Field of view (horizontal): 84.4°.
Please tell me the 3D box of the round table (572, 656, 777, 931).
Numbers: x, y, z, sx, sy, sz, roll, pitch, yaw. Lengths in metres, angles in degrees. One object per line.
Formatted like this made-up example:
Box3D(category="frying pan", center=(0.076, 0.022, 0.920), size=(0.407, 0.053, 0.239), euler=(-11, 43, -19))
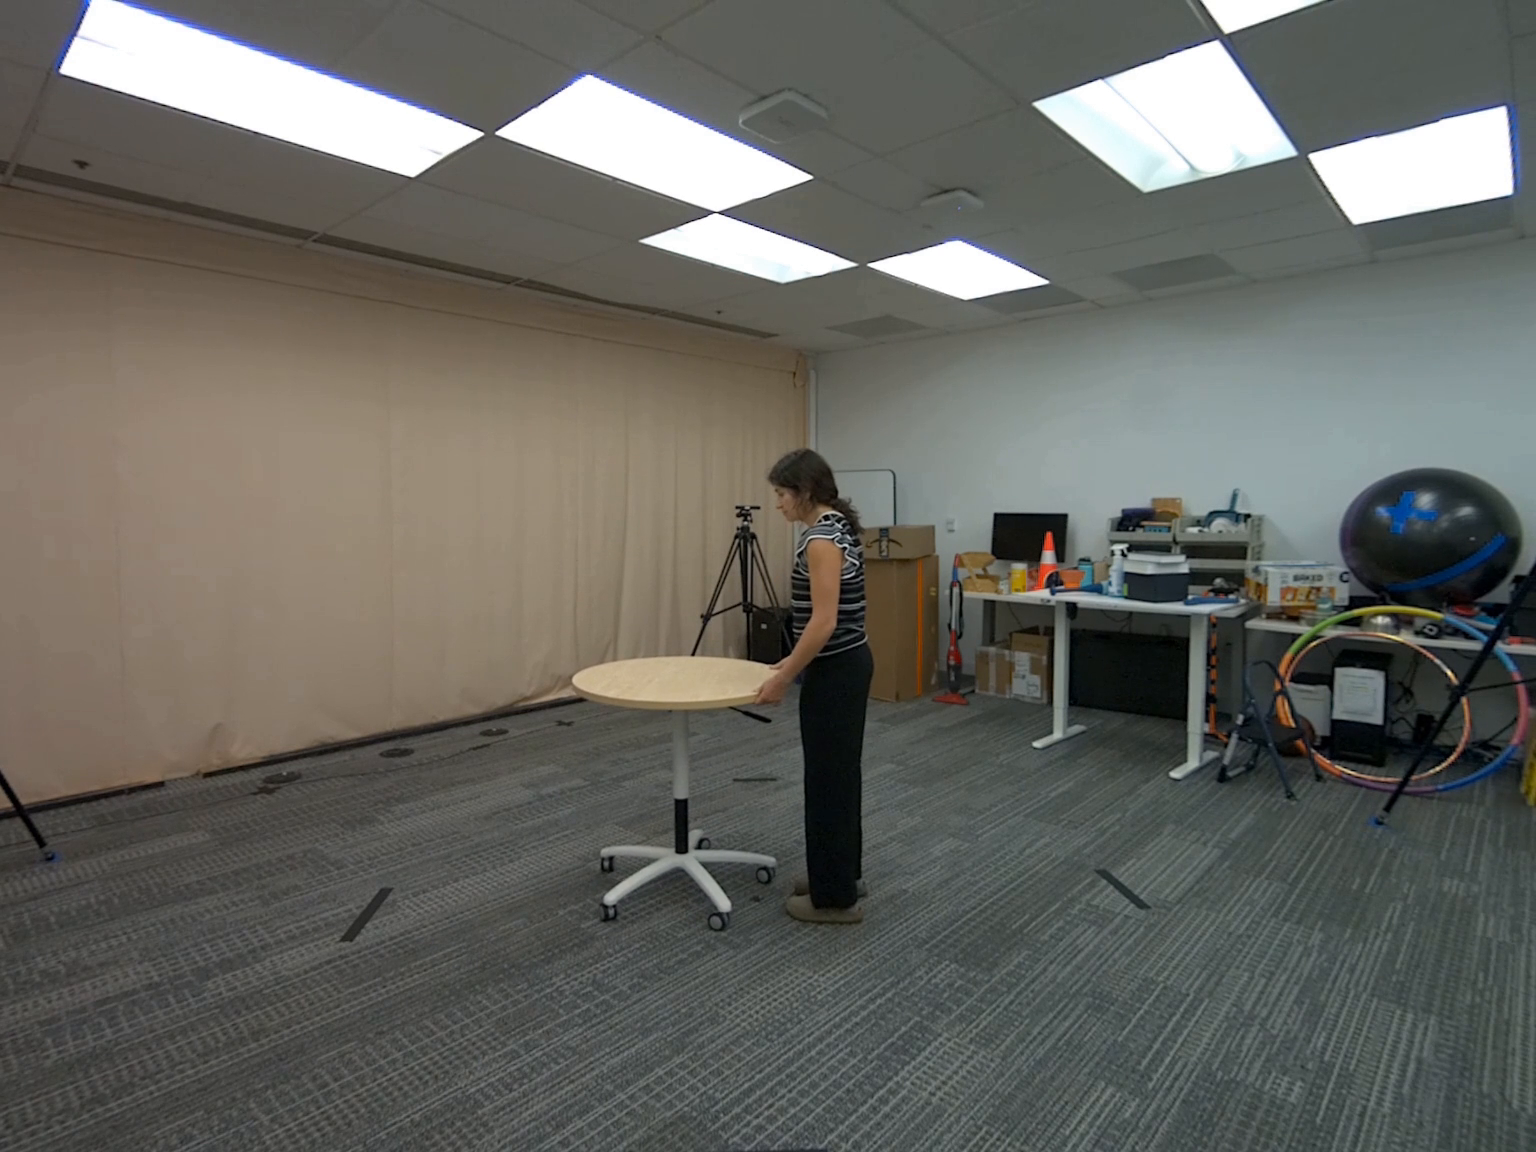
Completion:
Box3D(category="round table", center=(-0.303, 0.750, 3.043), size=(0.784, 0.784, 0.788), euler=(0, 4, -2))
